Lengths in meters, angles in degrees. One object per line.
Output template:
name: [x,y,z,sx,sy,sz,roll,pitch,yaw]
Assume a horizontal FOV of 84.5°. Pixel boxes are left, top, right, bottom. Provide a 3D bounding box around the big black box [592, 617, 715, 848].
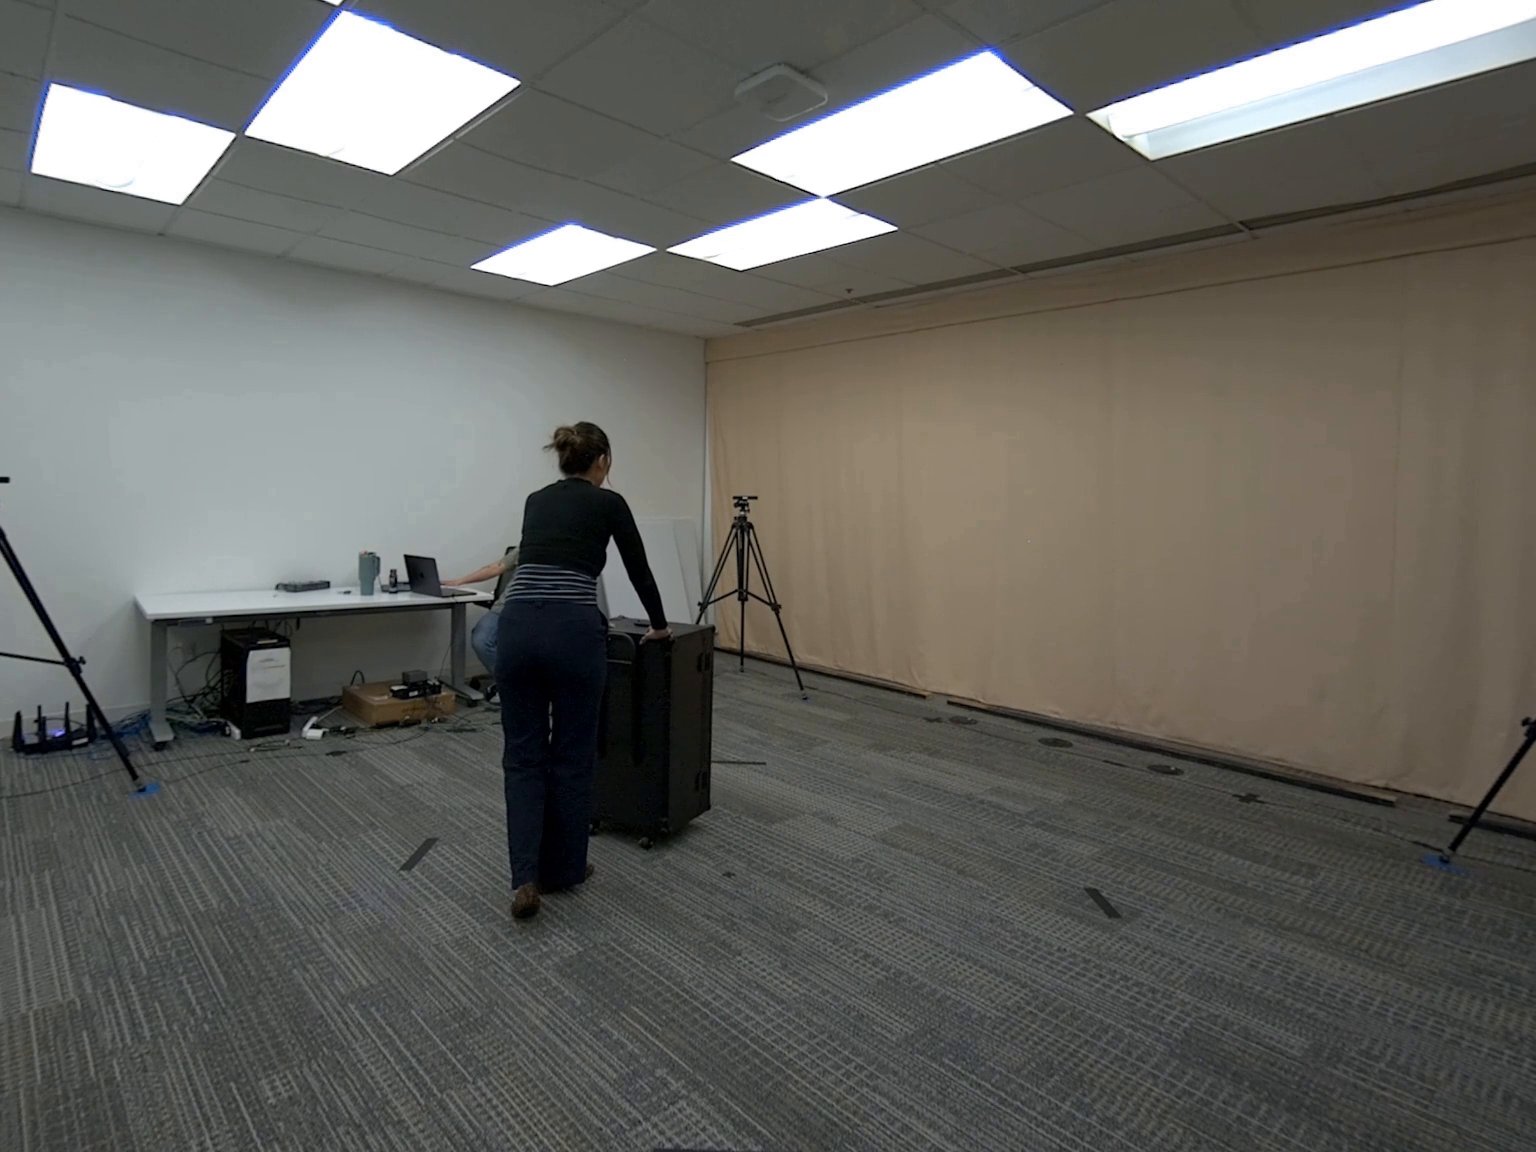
big black box: [-0.528,0.634,3.496,0.532,0.859,0.389,3,4,26]
